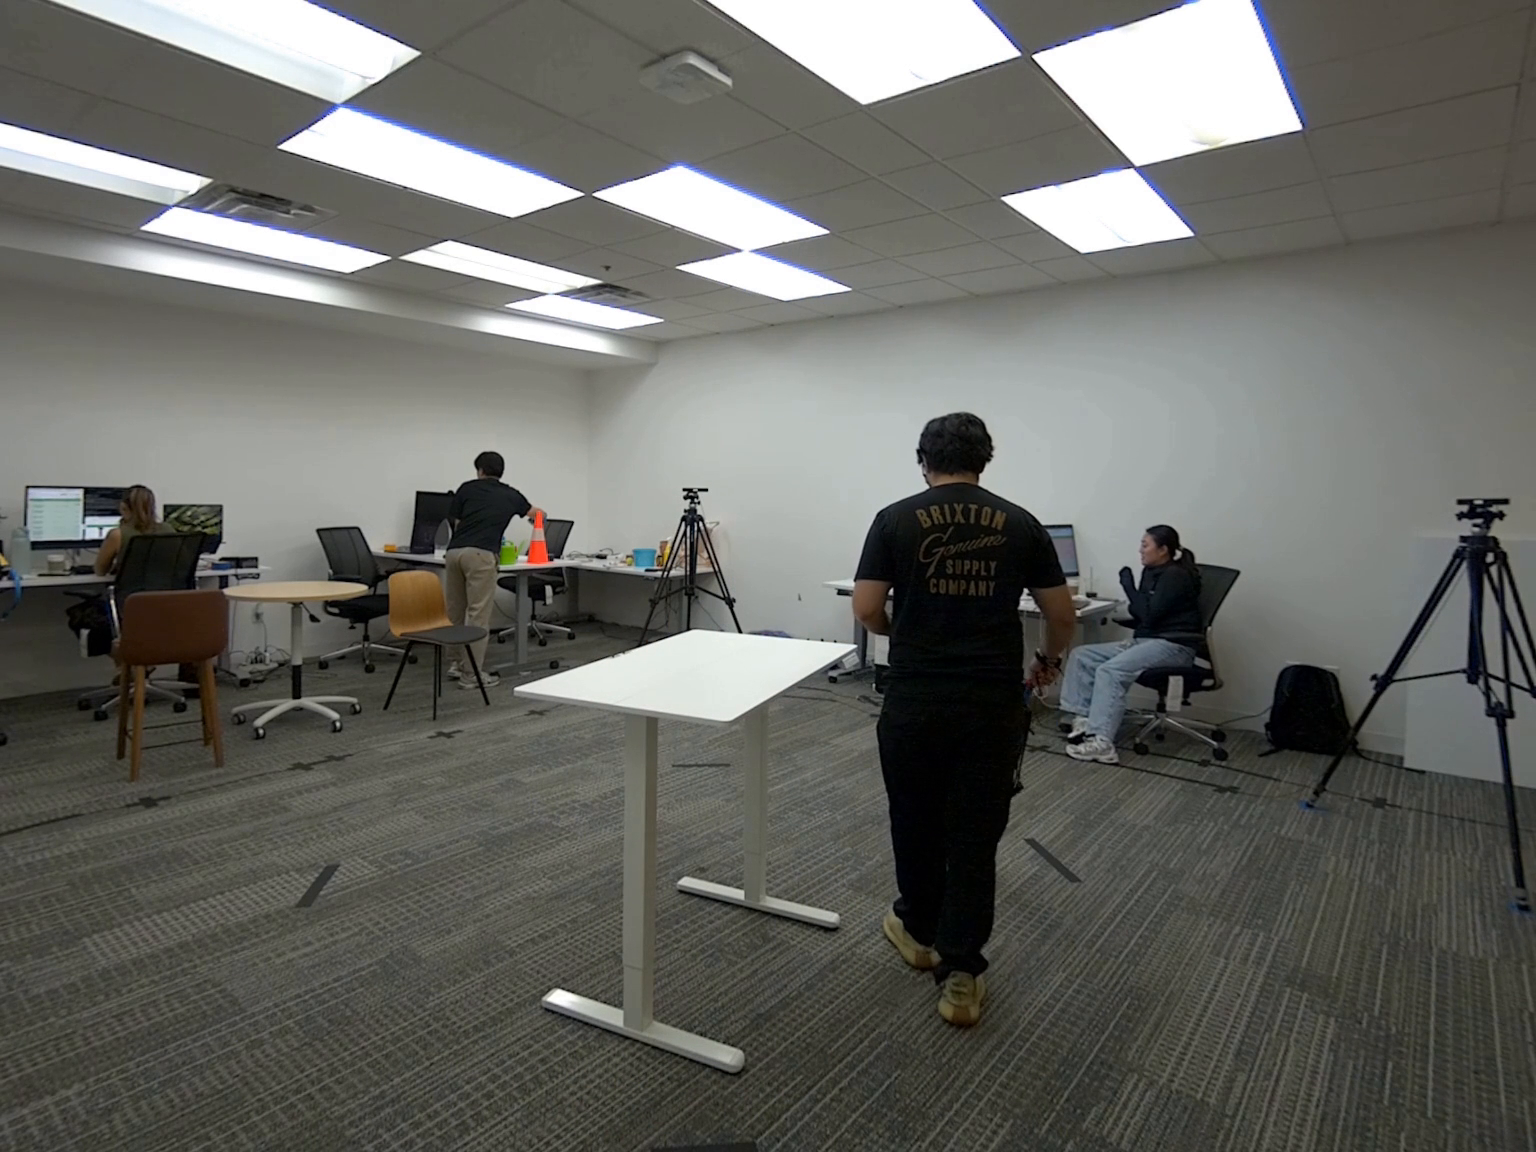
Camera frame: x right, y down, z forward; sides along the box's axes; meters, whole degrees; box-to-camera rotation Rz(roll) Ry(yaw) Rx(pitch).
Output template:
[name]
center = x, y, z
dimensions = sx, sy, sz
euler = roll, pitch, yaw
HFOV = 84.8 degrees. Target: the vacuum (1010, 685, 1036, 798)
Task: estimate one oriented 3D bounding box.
[vacuum]
center = 0.759, 0.668, 2.909
dimensions = 0.251, 1.022, 0.148
euler = 1, 40, -5
